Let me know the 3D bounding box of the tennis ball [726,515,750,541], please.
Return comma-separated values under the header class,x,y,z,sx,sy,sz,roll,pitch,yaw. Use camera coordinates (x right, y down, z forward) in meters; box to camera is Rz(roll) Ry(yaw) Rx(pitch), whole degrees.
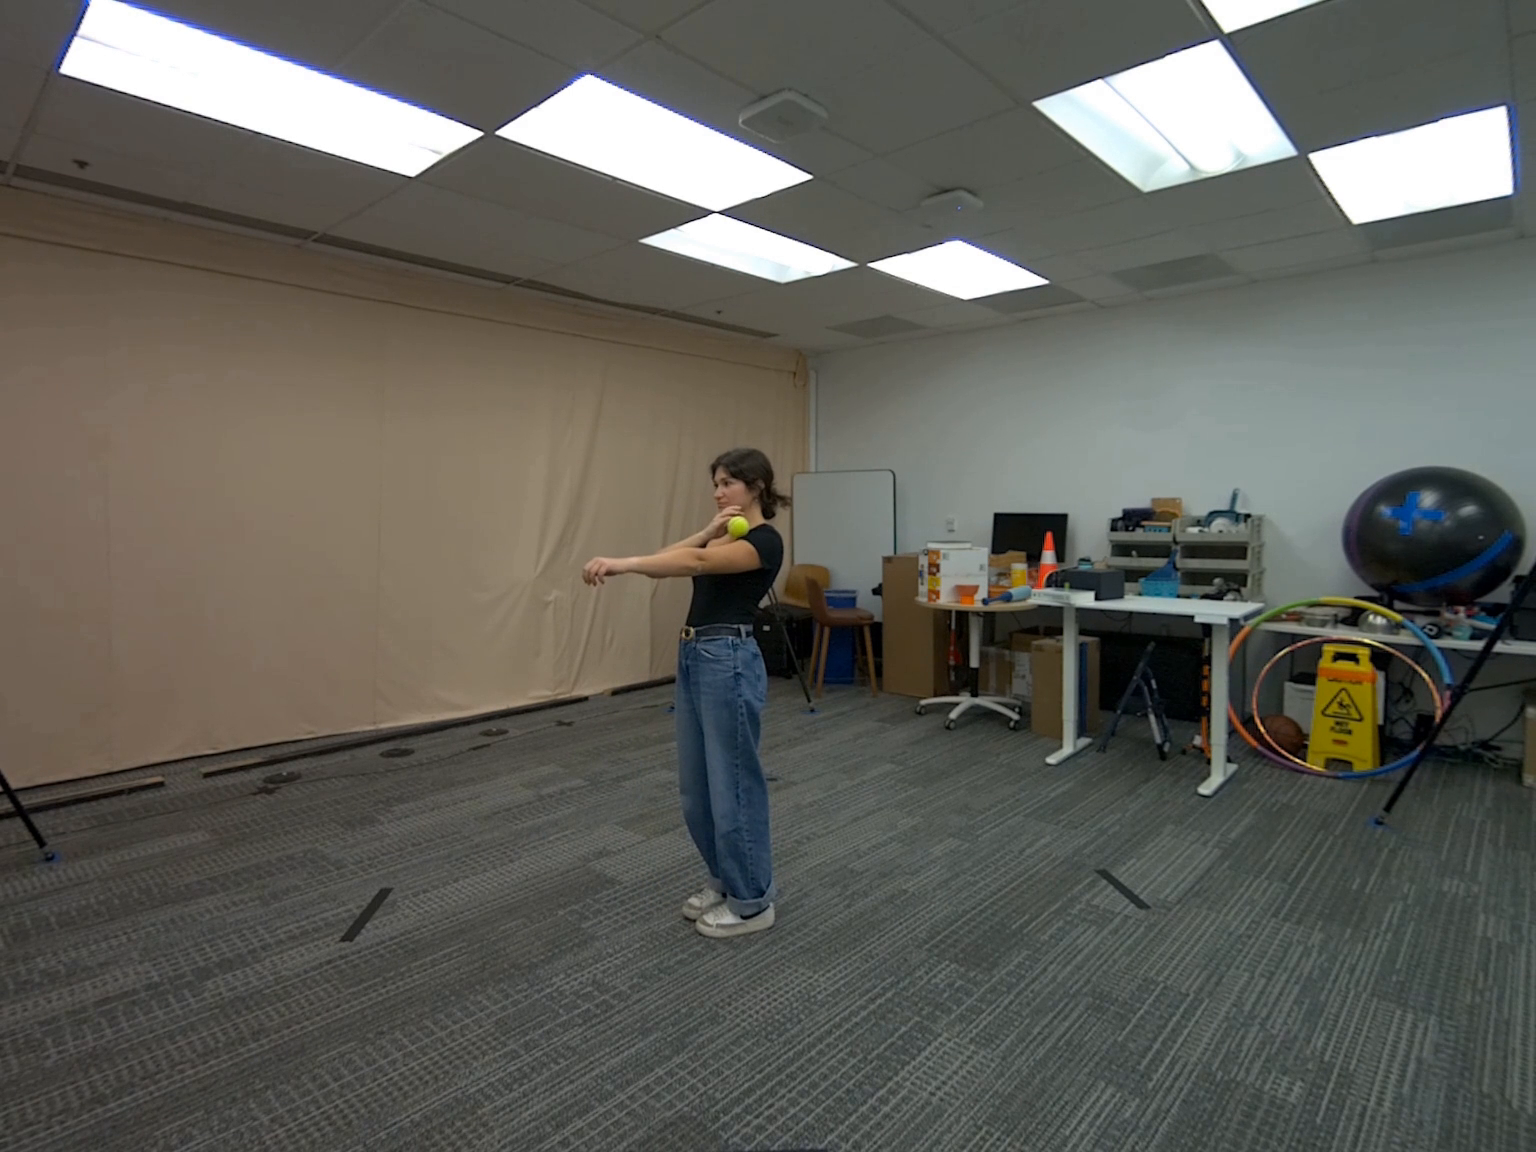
class,x,y,z,sx,sy,sz,roll,pitch,yaw
tennis ball,-0.088,-0.150,2.639,0.066,0.066,0.067,0,4,-2
